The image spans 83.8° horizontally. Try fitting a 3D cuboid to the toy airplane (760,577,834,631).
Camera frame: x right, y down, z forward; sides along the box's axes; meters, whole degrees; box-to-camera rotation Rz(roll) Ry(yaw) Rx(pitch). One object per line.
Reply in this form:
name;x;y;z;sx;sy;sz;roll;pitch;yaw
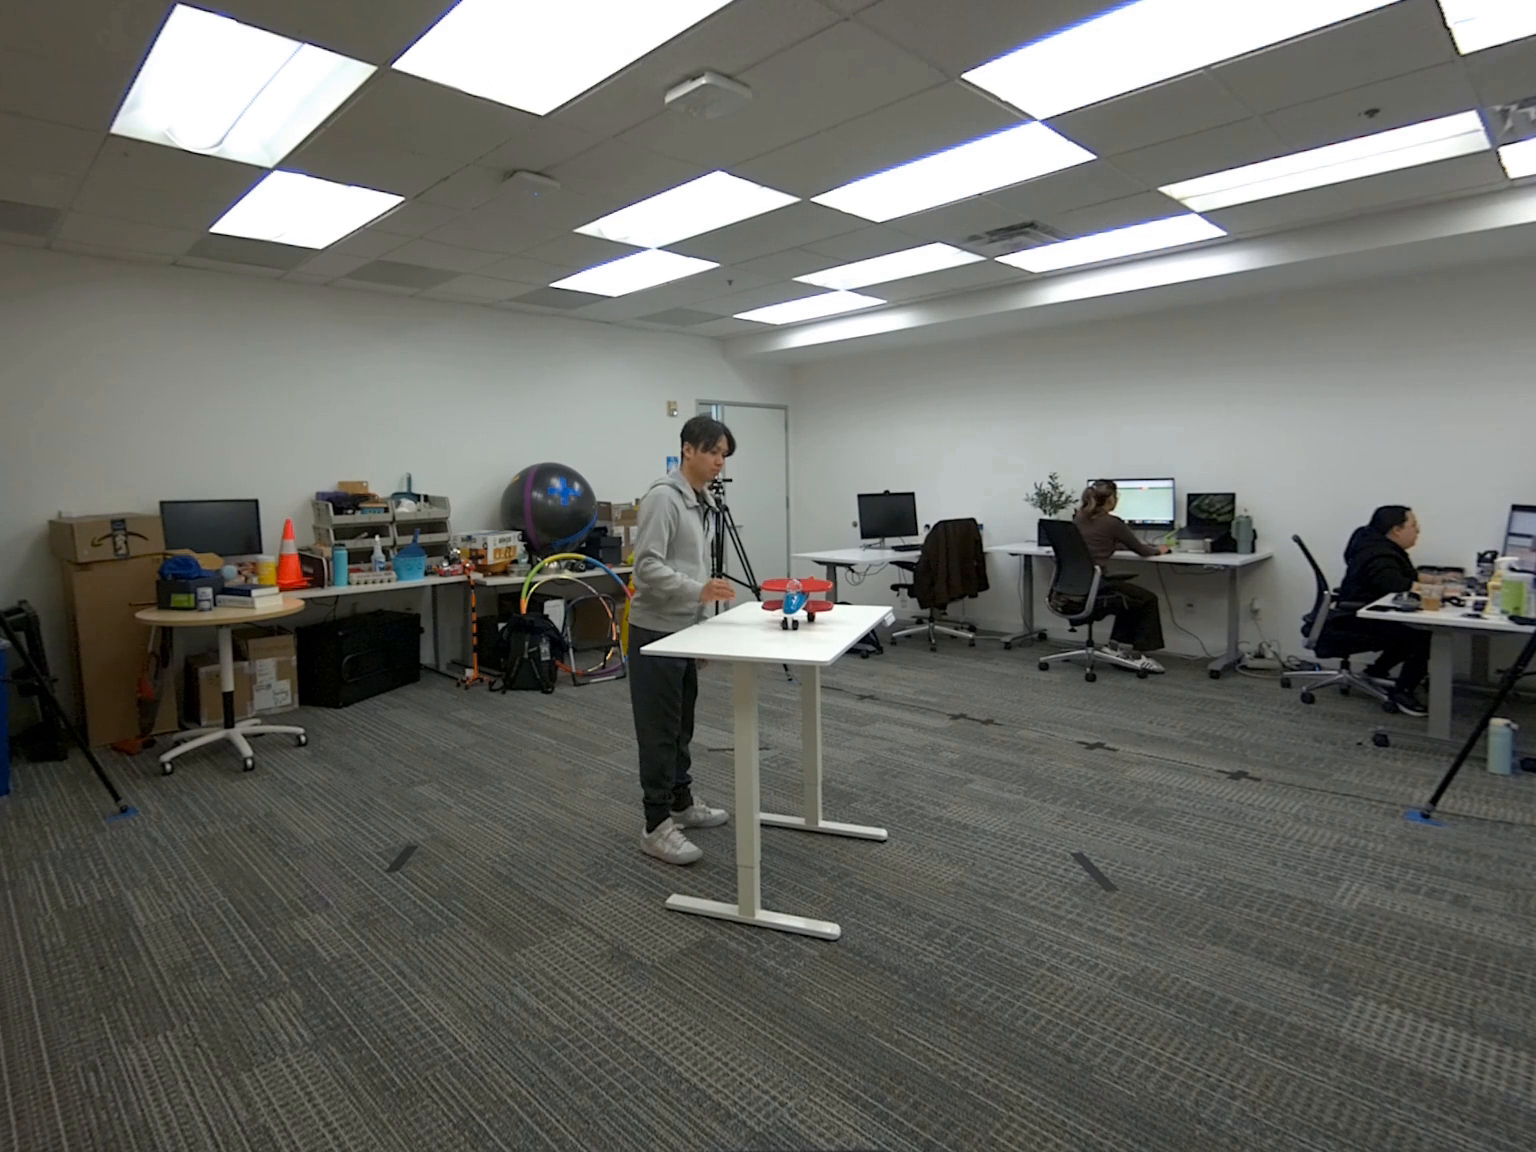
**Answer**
toy airplane;0.118;0.096;2.994;0.248;0.156;0.264;-3;6;-14
